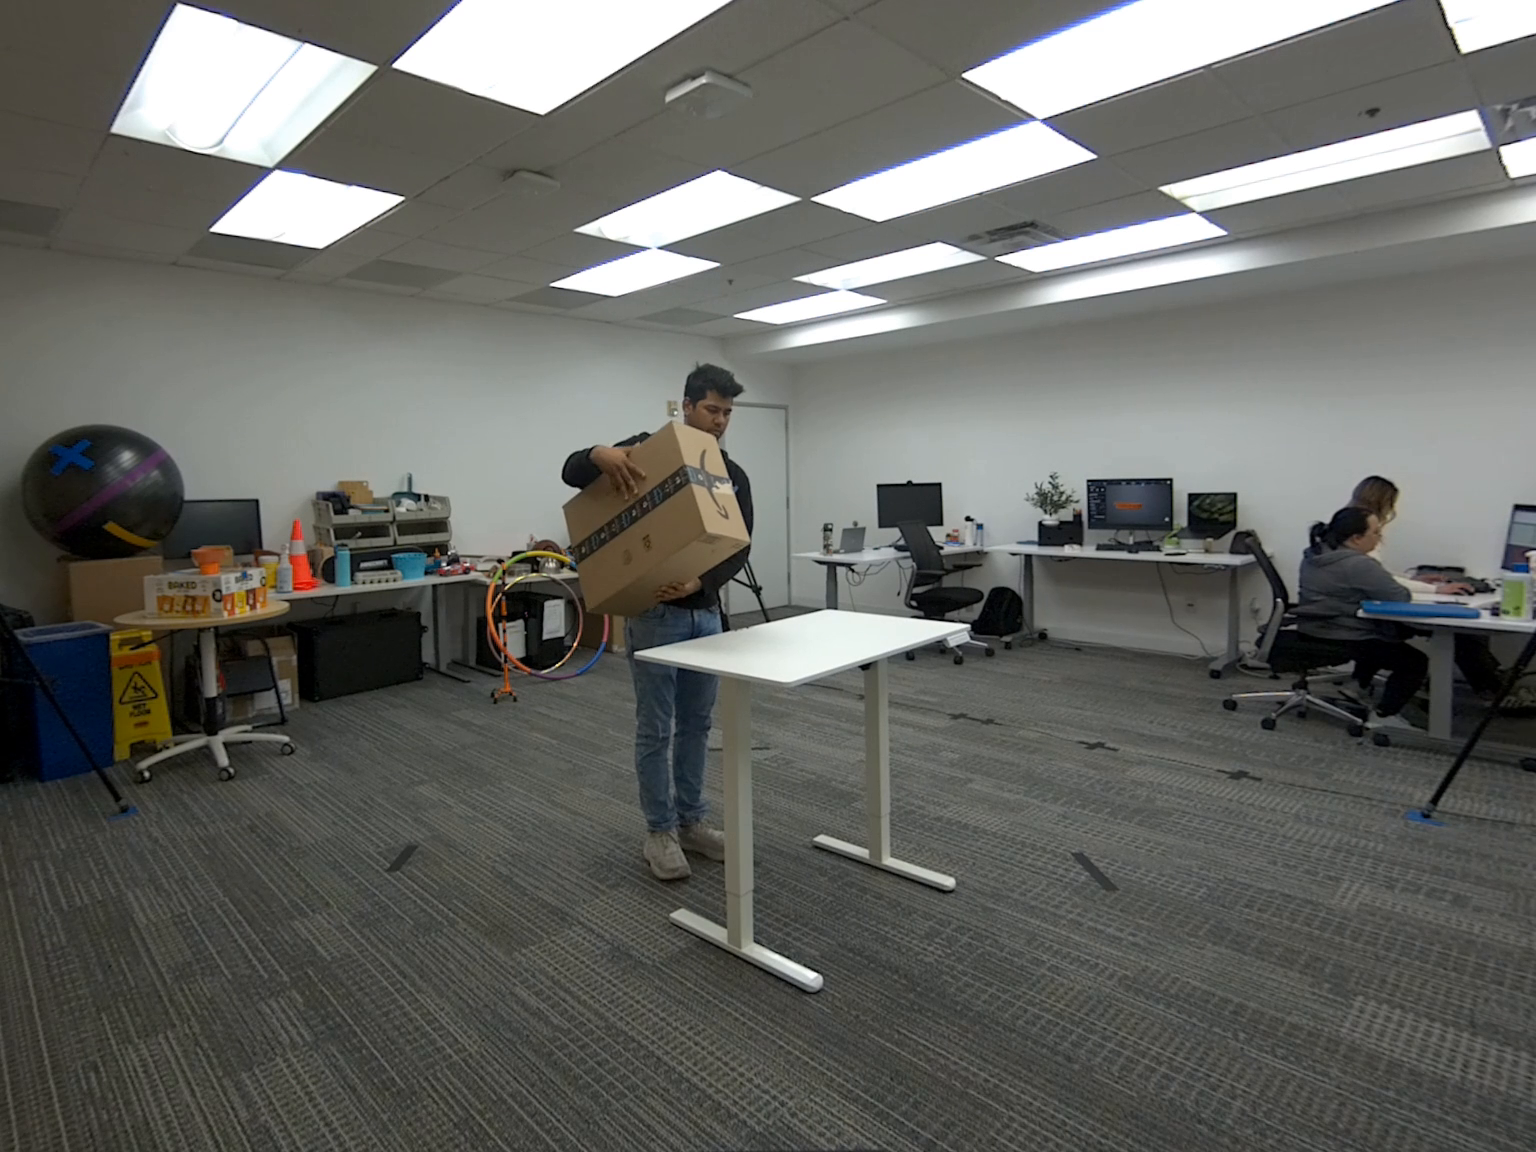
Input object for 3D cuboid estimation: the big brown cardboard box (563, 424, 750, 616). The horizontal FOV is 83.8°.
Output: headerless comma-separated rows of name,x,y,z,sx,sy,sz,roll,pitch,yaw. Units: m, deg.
big brown cardboard box,-0.388,-0.171,2.833,0.594,0.428,0.225,-32,-27,31
